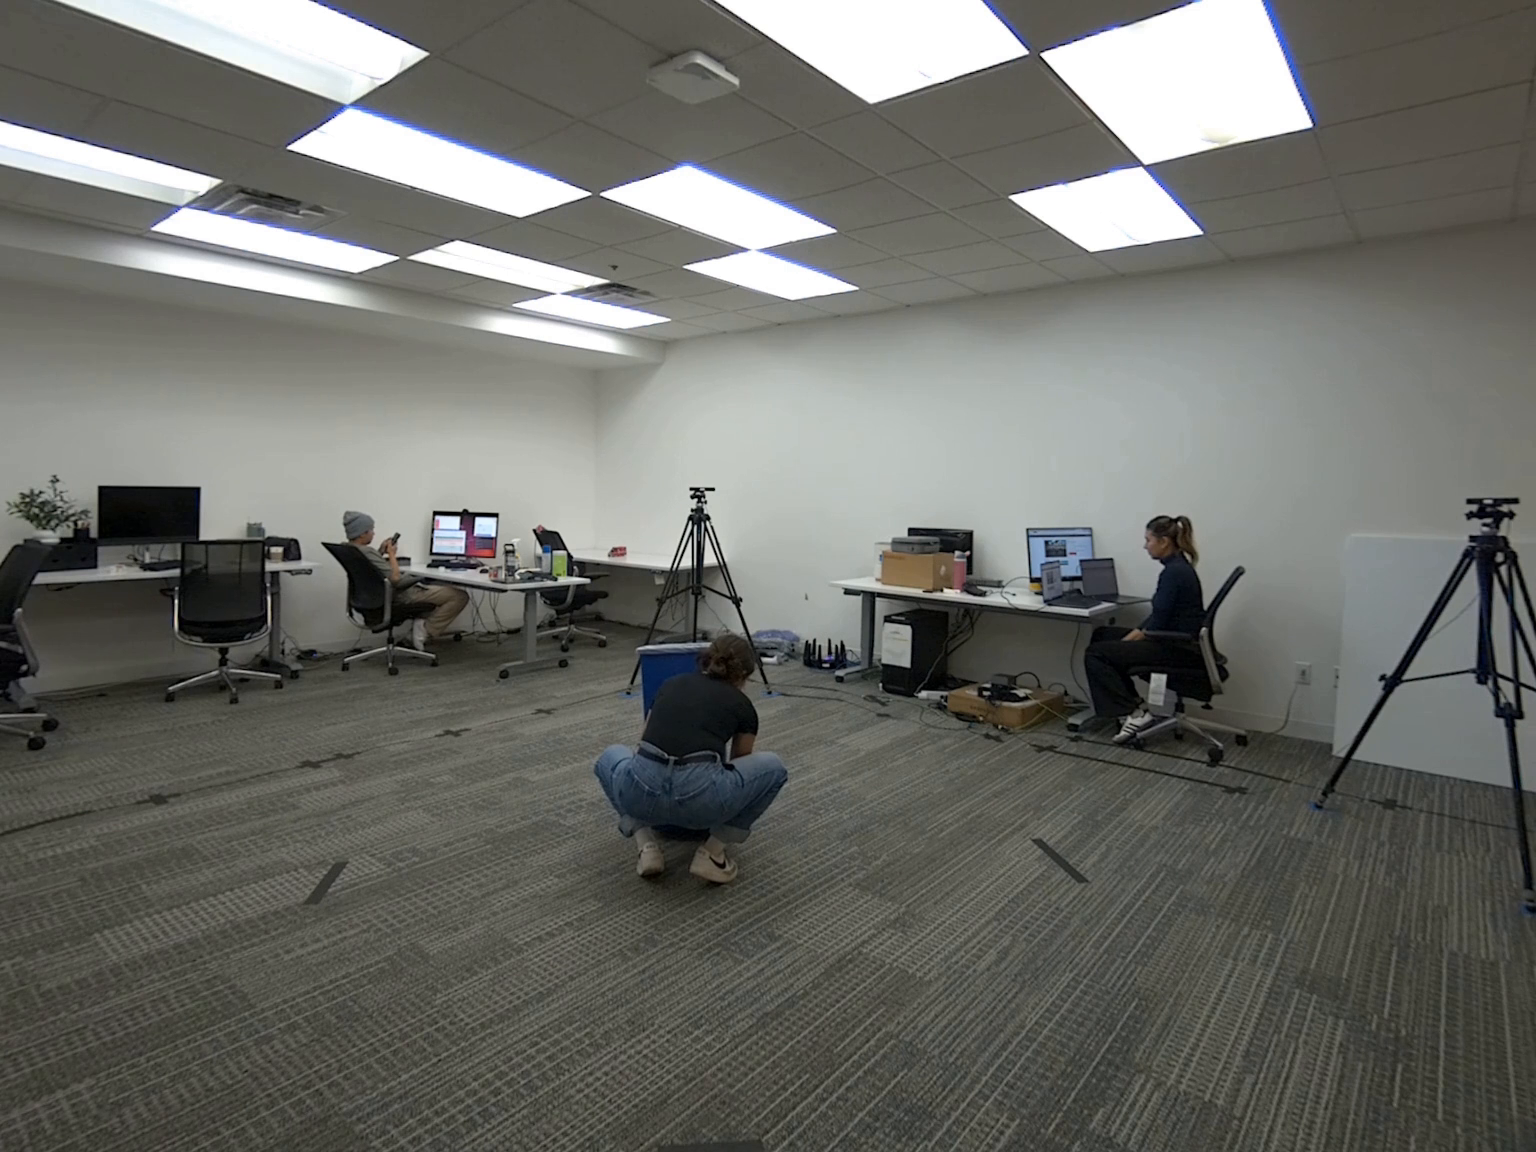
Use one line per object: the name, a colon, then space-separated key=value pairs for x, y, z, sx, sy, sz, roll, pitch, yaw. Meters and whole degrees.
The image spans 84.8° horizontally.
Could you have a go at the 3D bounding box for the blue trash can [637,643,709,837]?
blue trash can: x=-0.350 y=0.642 z=3.526 sx=0.374 sy=0.717 sz=0.376 roll=-1 pitch=-5 yaw=-1
